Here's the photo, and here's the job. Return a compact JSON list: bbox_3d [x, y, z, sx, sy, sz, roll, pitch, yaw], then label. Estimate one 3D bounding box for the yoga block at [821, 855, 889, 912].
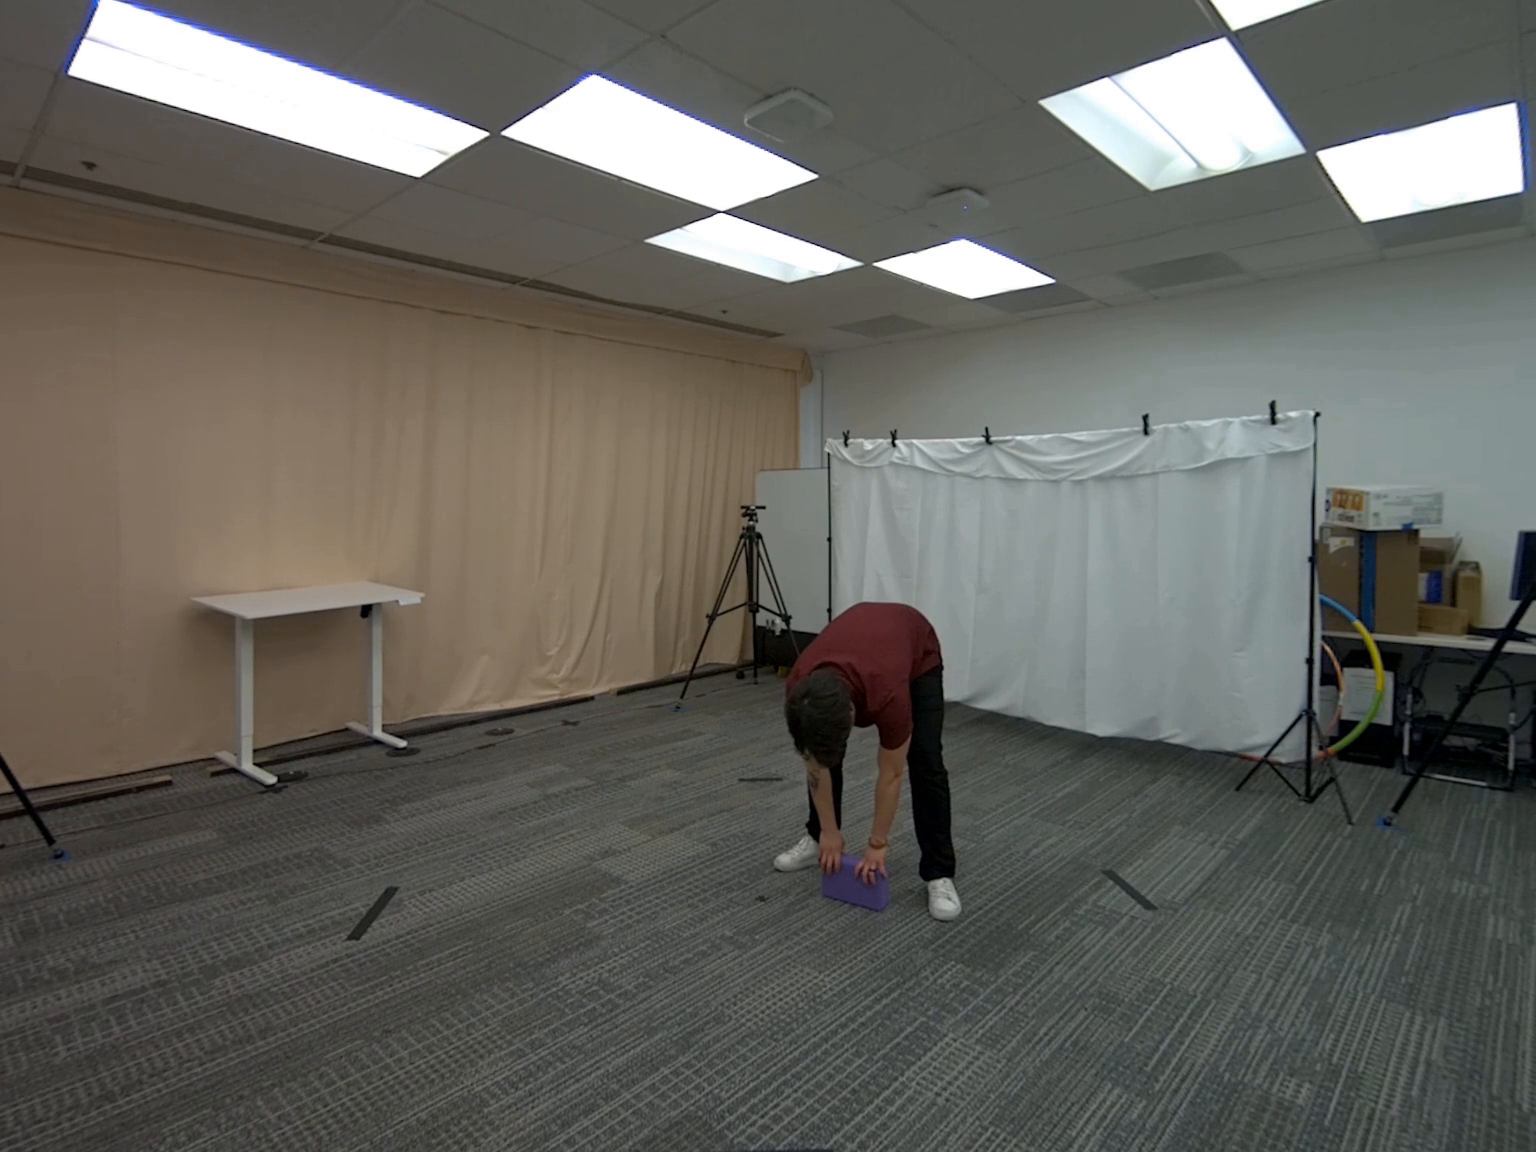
[{"bbox_3d":[0.315,1.074,2.971,0.236,0.149,0.074,3,-1,32],"label":"yoga block"}]
